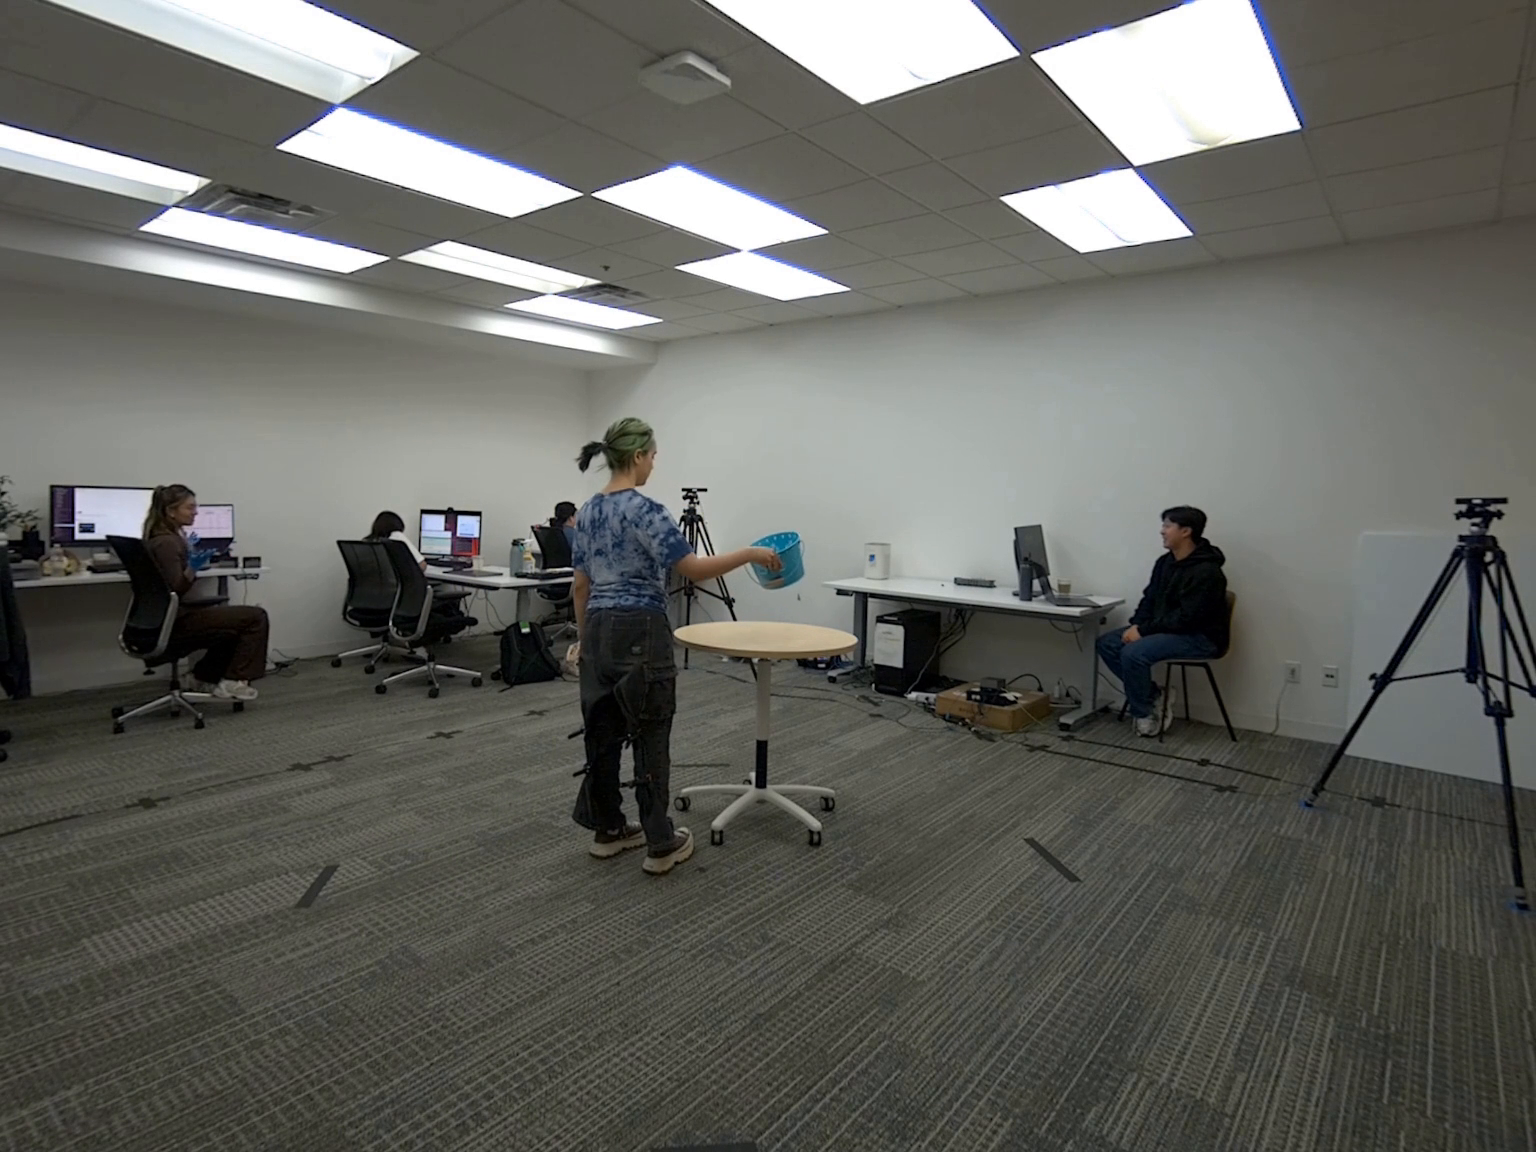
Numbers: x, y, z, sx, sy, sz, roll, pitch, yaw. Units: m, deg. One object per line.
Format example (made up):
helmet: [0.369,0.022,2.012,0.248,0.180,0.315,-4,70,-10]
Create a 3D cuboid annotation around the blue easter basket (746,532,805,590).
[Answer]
blue easter basket: [0.020,-0.050,3.317,0.244,0.152,0.248,-17,19,4]
